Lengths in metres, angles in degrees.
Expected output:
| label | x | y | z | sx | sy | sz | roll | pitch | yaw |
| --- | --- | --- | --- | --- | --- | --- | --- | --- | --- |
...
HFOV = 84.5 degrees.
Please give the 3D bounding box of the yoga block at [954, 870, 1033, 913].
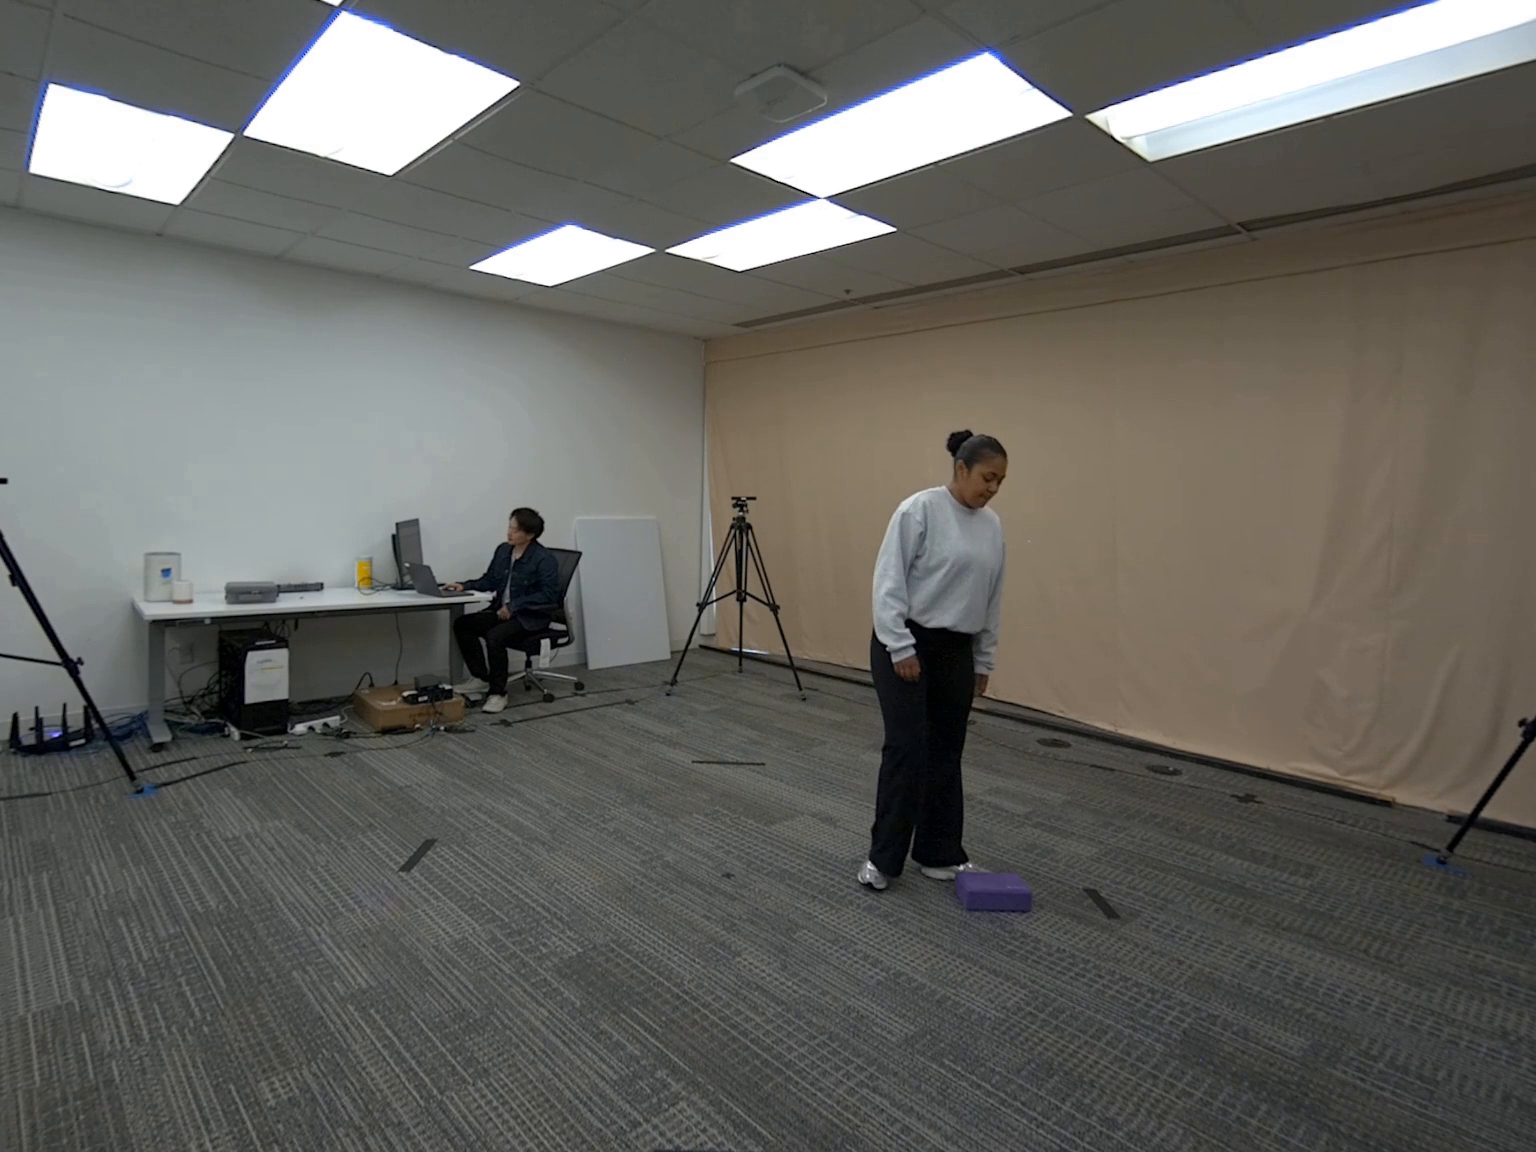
| label | x | y | z | sx | sy | sz | roll | pitch | yaw |
| --- | --- | --- | --- | --- | --- | --- | --- | --- | --- |
| yoga block | 0.774 | 1.101 | 2.951 | 0.229 | 0.076 | 0.149 | 1 | 5 | -2 |
